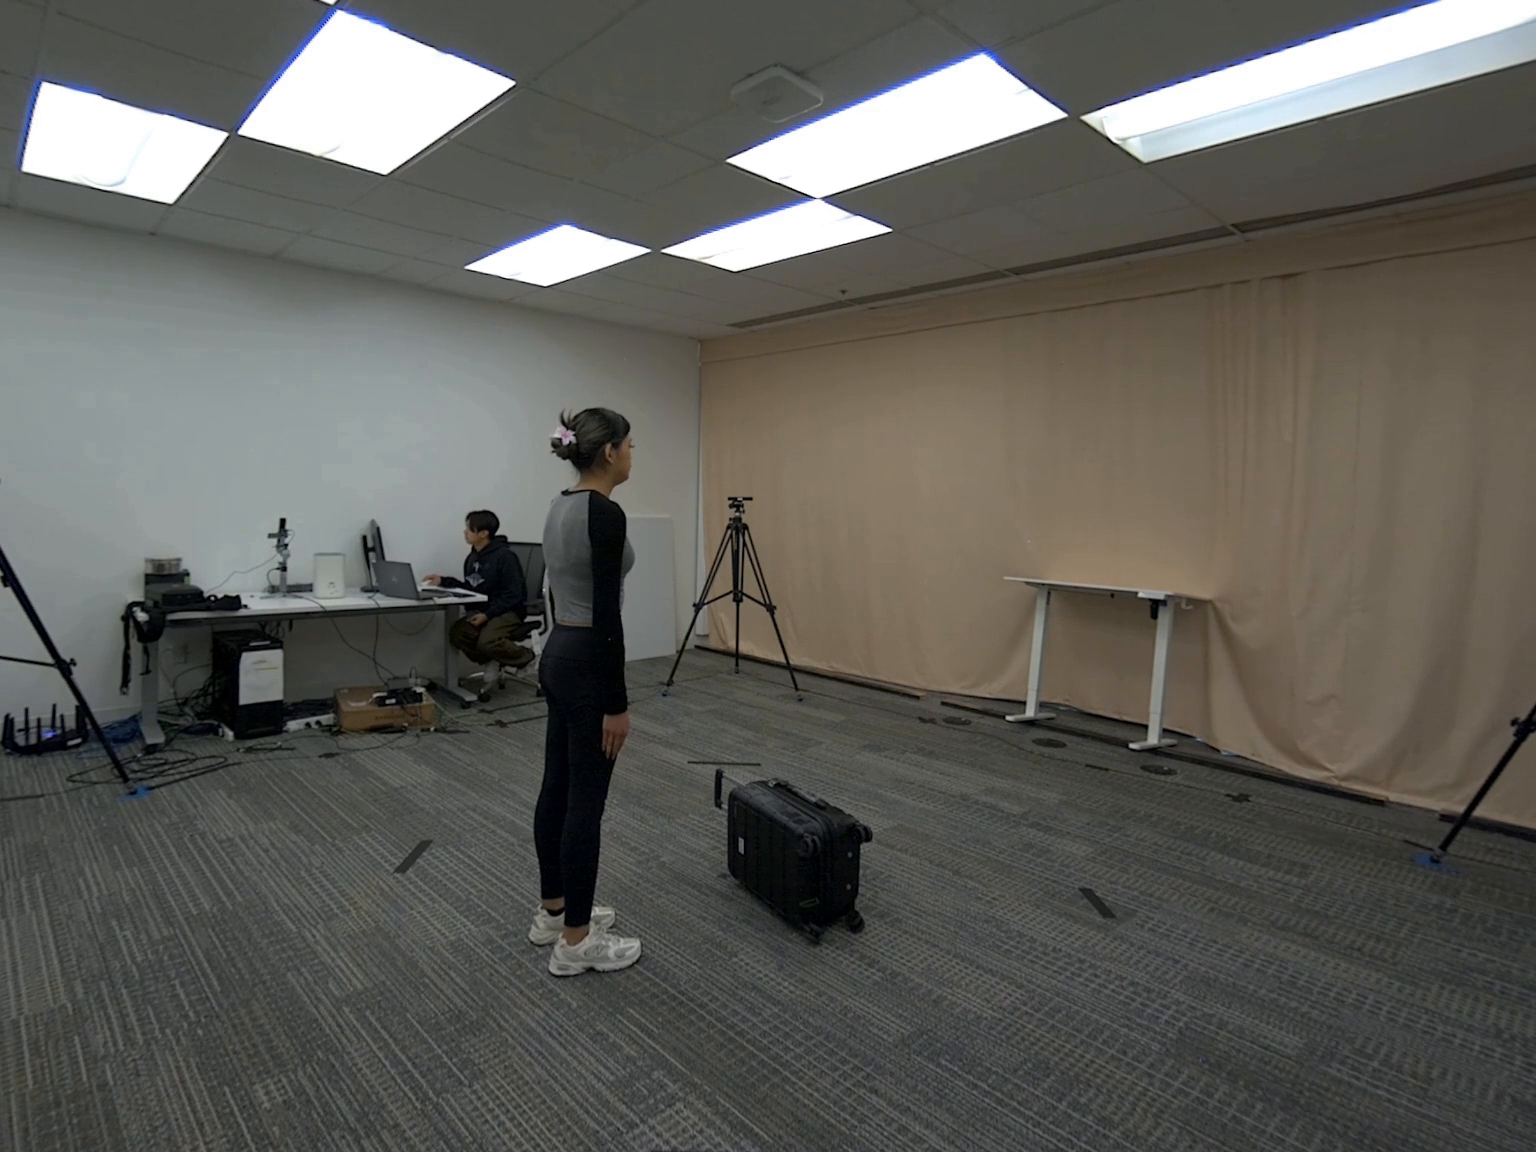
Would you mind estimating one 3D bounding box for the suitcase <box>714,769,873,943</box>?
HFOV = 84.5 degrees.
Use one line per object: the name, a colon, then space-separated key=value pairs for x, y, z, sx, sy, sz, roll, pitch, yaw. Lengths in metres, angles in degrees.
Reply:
suitcase: x=-0.044 y=0.923 z=3.071 sx=0.252 sy=0.383 sz=1.002 roll=-1 pitch=6 yaw=-33
